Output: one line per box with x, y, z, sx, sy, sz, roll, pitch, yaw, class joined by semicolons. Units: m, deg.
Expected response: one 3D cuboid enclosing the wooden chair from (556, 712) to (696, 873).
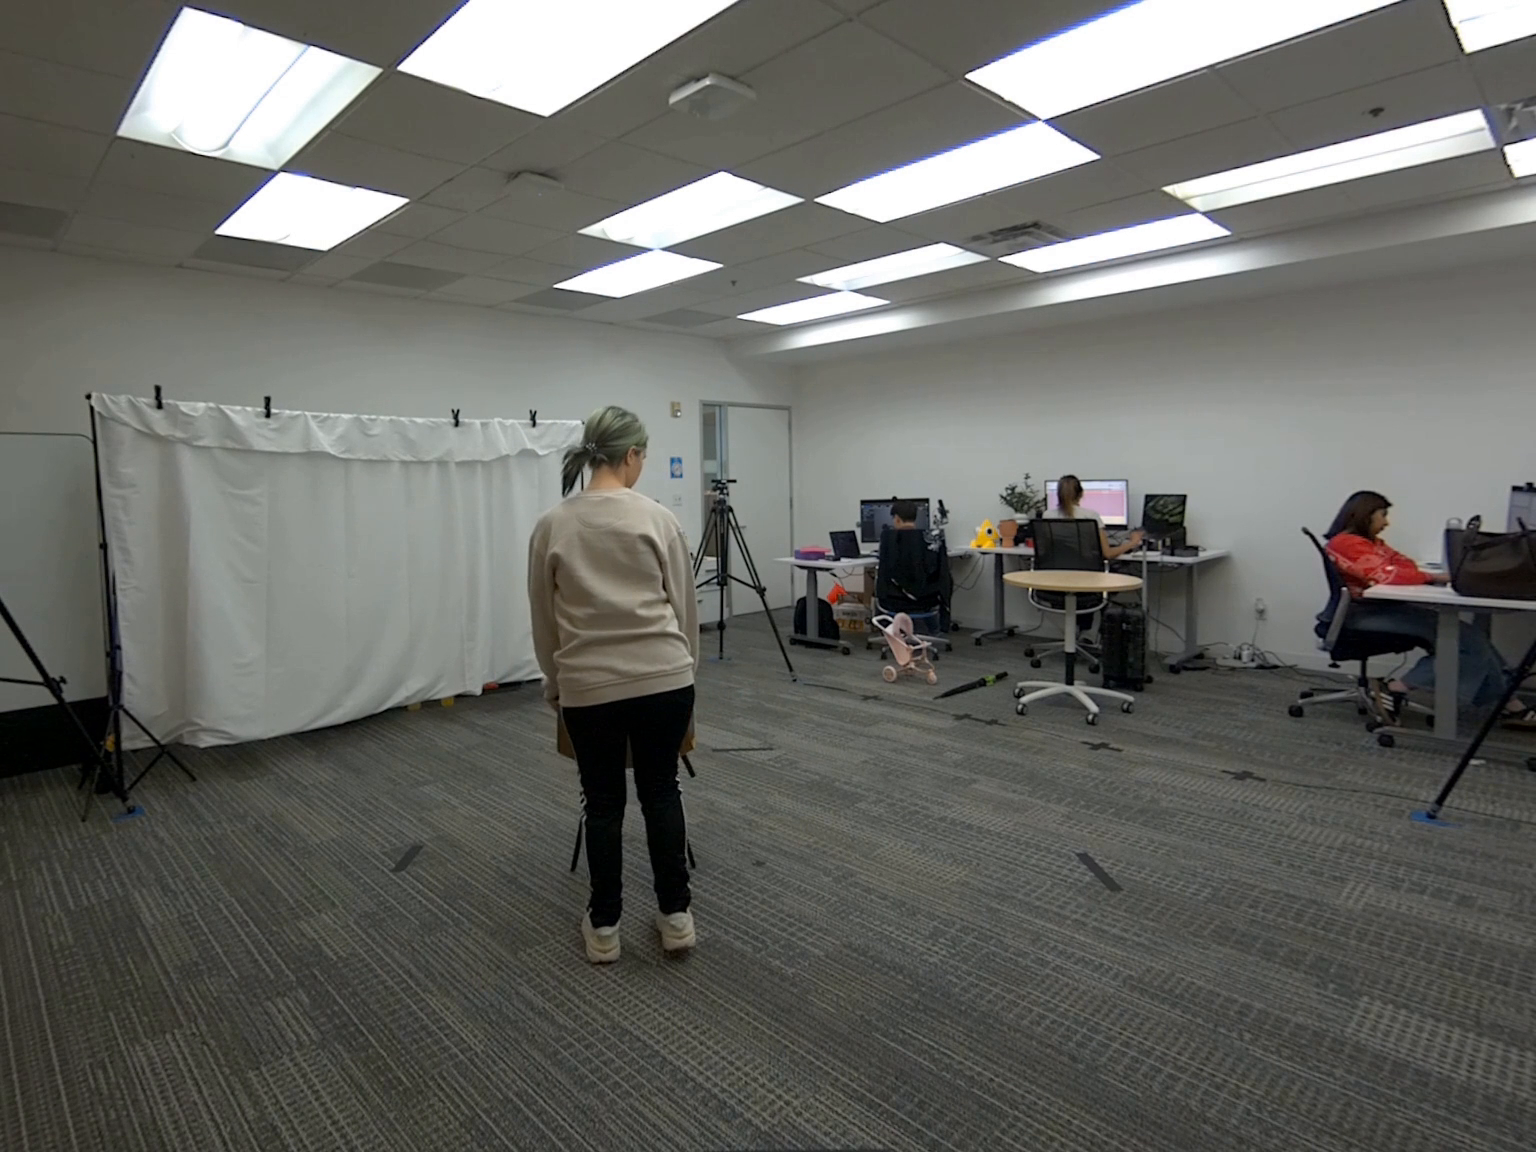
-0.491;0.576;3.069;0.476;0.855;0.538;-1;36;-4;wooden chair
